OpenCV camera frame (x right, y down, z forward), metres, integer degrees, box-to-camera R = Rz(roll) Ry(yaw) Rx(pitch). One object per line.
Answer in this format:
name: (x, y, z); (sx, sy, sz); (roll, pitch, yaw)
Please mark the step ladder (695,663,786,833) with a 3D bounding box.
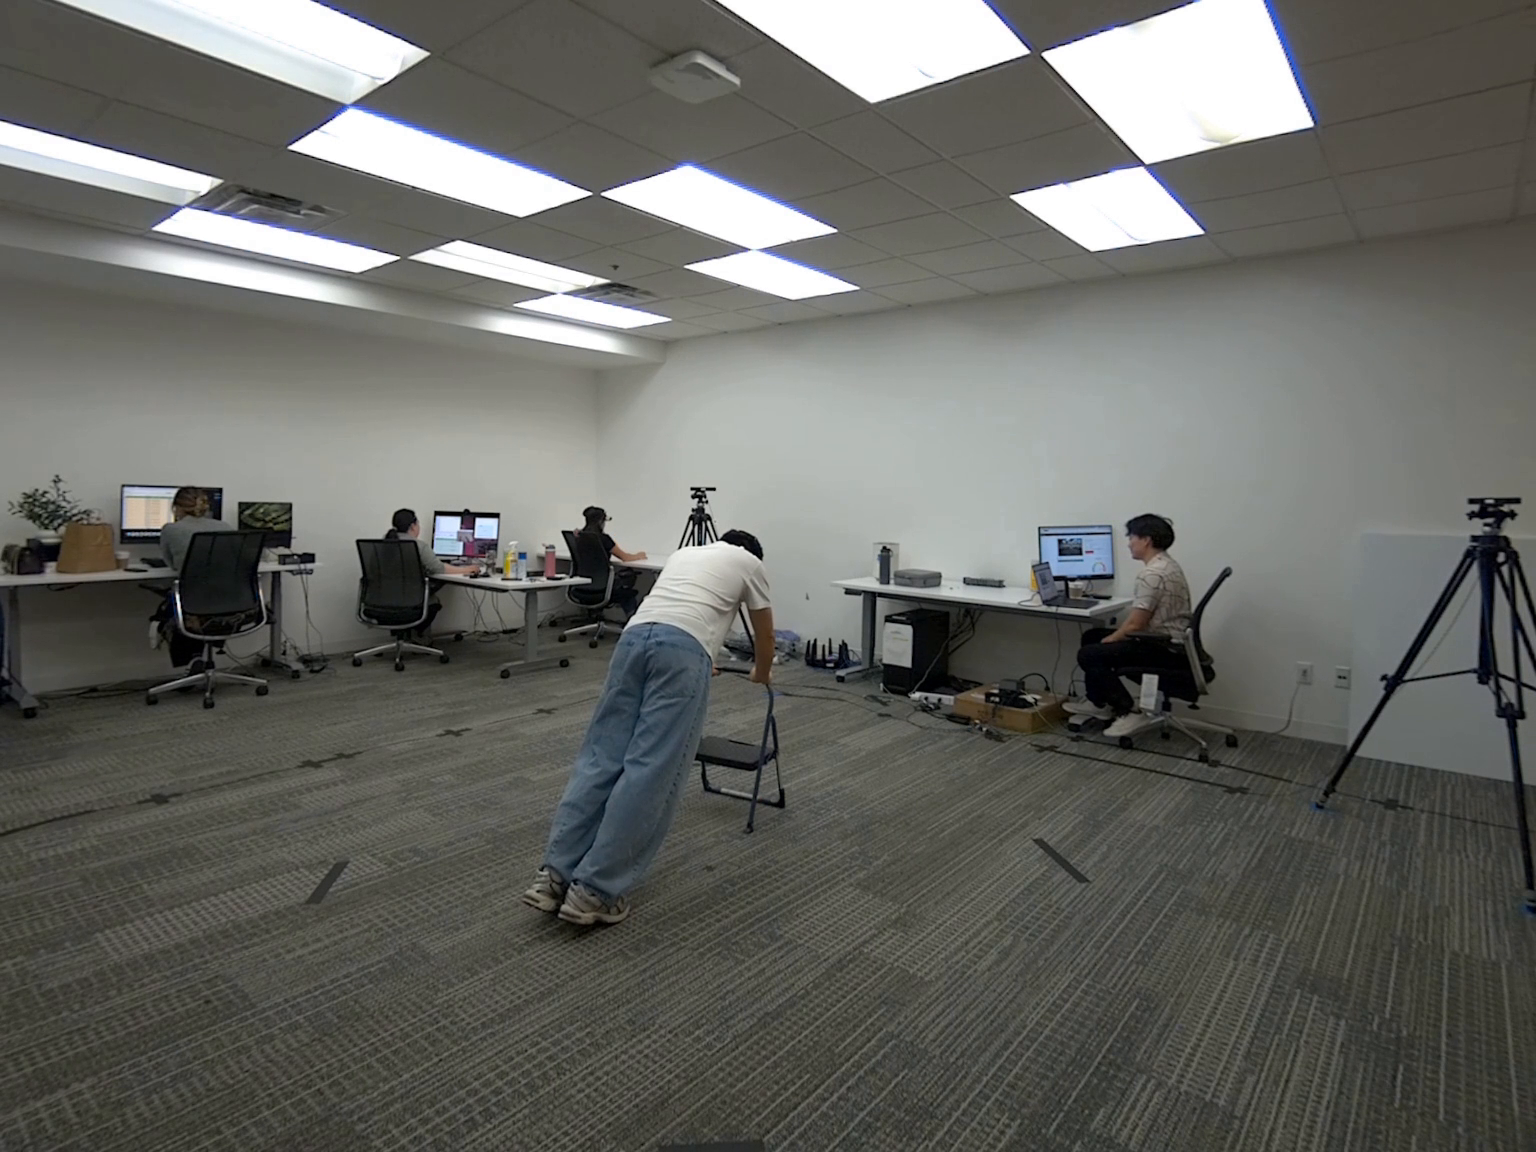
step ladder: (-0.182, 0.707, 3.678); (0.443, 0.605, 0.340); (3, 3, 28)
